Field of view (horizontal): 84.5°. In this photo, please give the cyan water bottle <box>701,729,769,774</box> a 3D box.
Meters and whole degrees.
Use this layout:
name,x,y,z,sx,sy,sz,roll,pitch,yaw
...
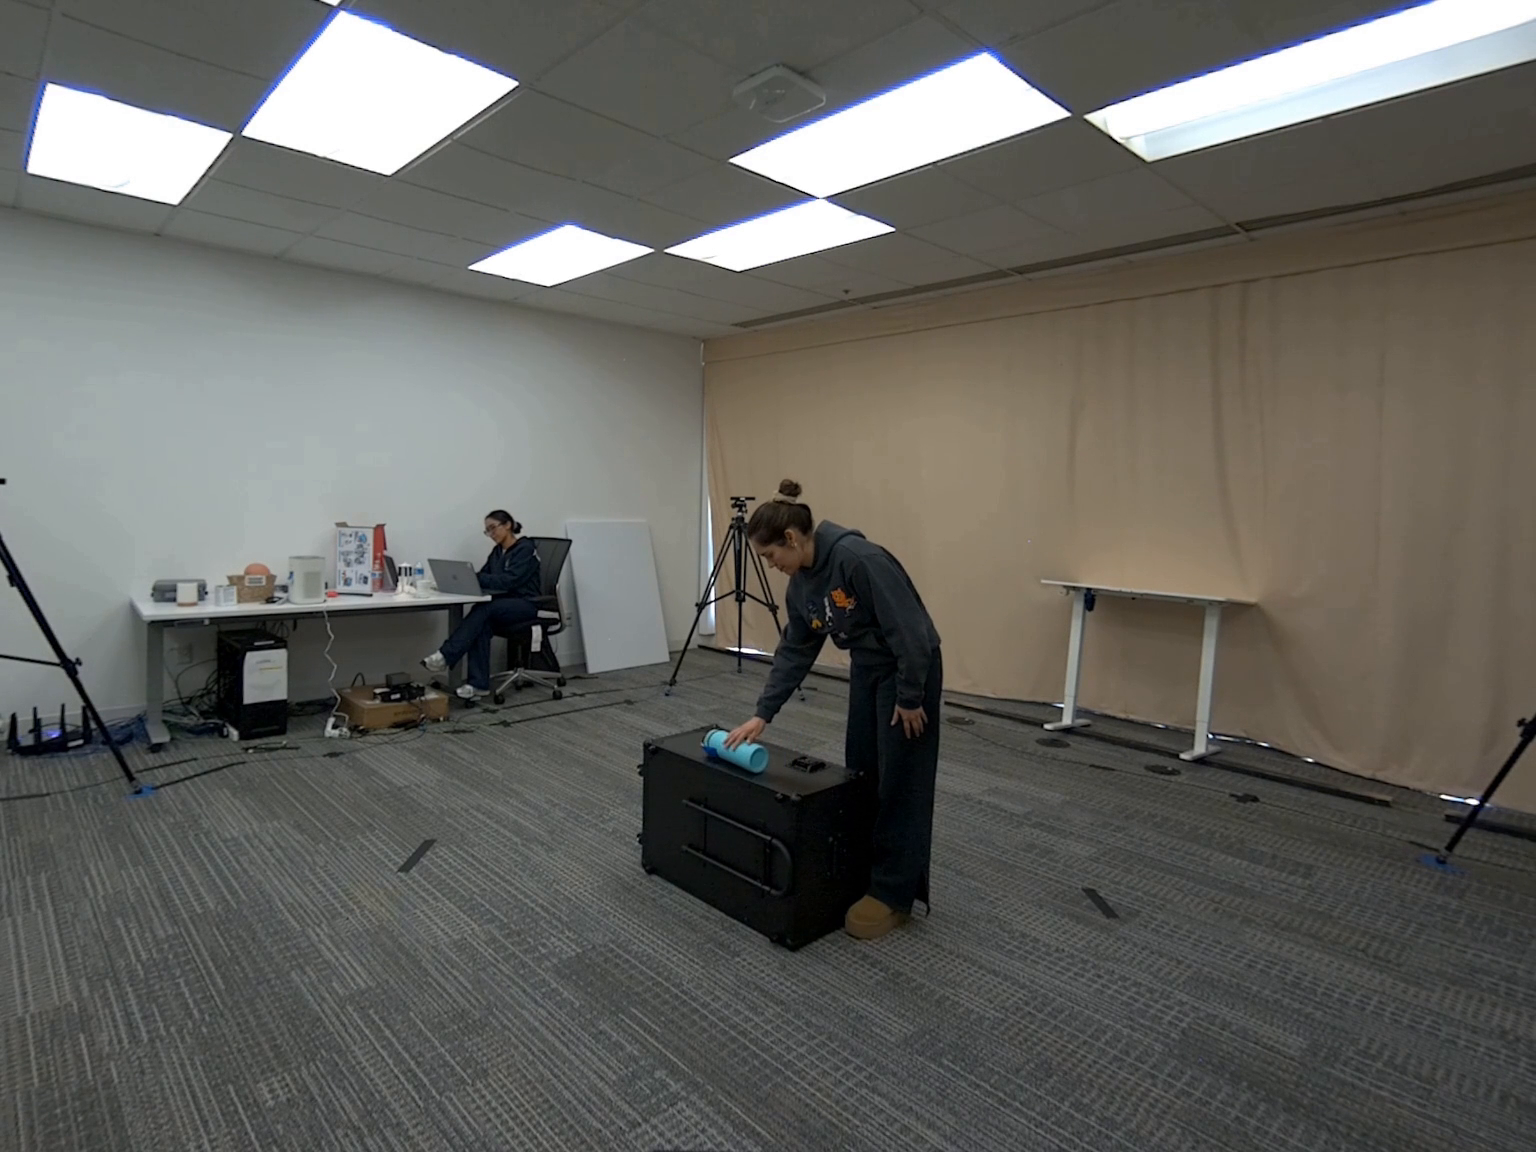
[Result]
name,x,y,z,sx,sy,sz,roll,pitch,yaw
cyan water bottle,-0.121,0.591,2.913,0.090,0.092,0.291,-3,8,-41
